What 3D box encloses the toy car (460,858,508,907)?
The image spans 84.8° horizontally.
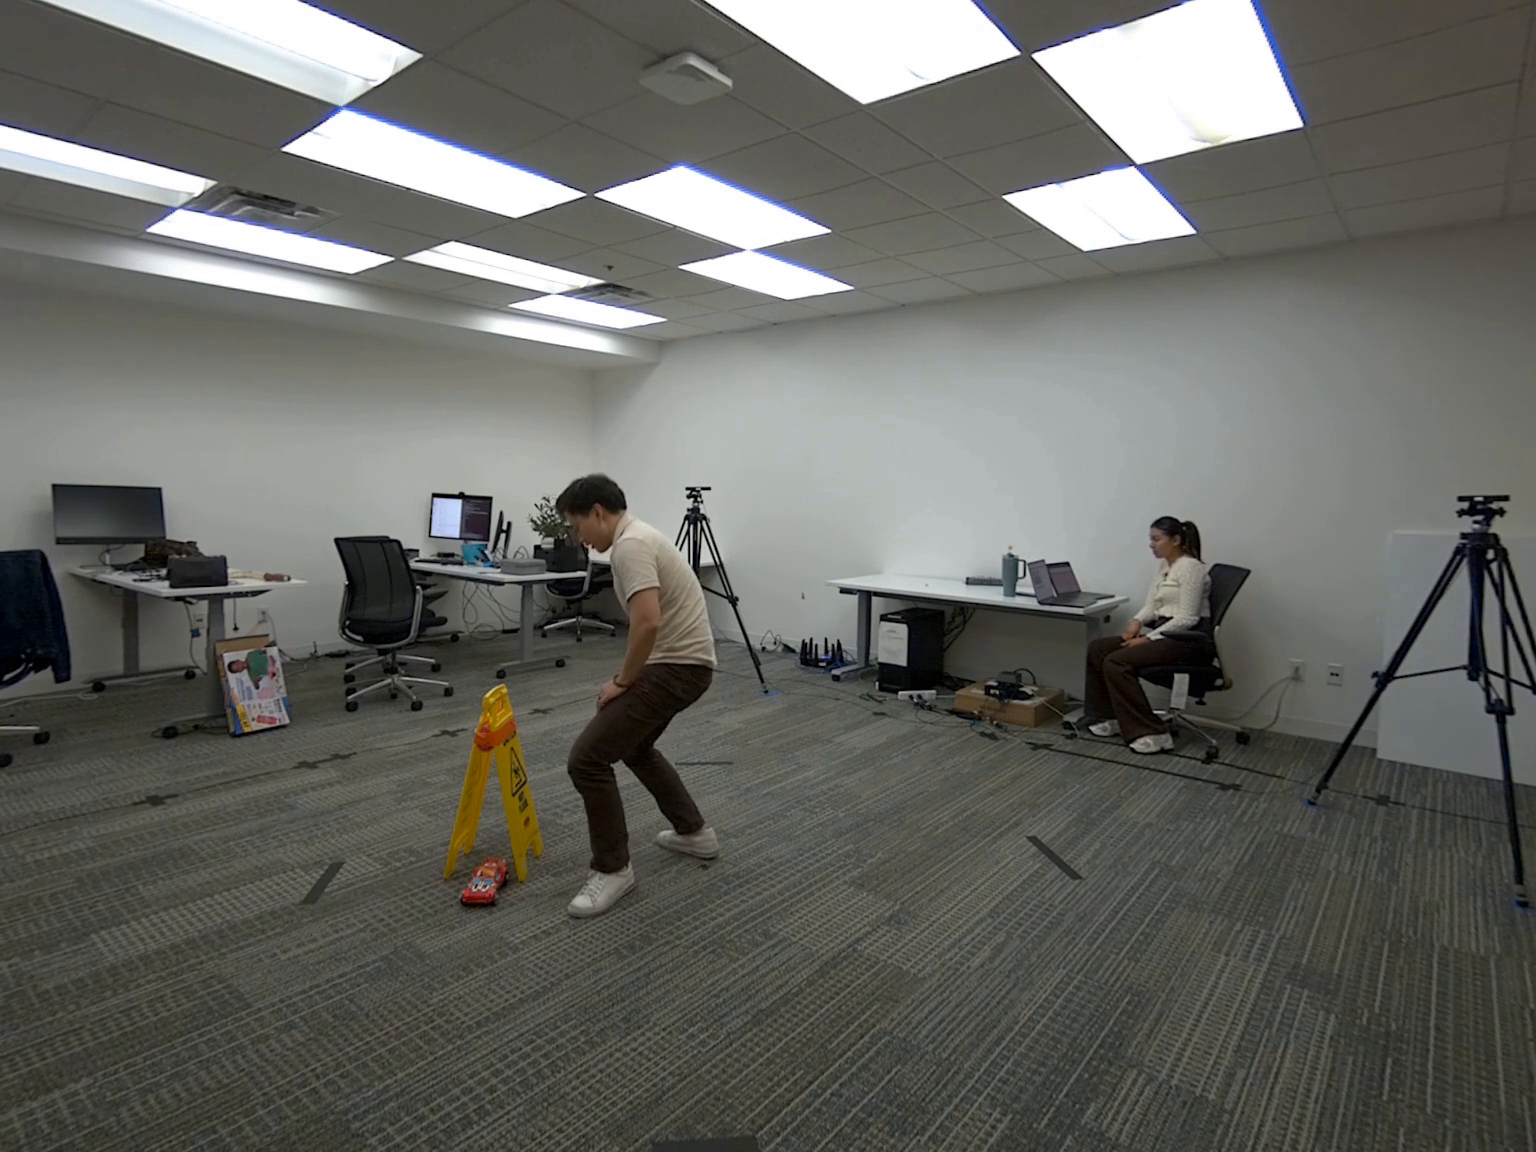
[{"bbox_3d":[-0.975,1.044,2.914,0.130,0.082,0.259,-1,17,-2],"label":"toy car"}]
